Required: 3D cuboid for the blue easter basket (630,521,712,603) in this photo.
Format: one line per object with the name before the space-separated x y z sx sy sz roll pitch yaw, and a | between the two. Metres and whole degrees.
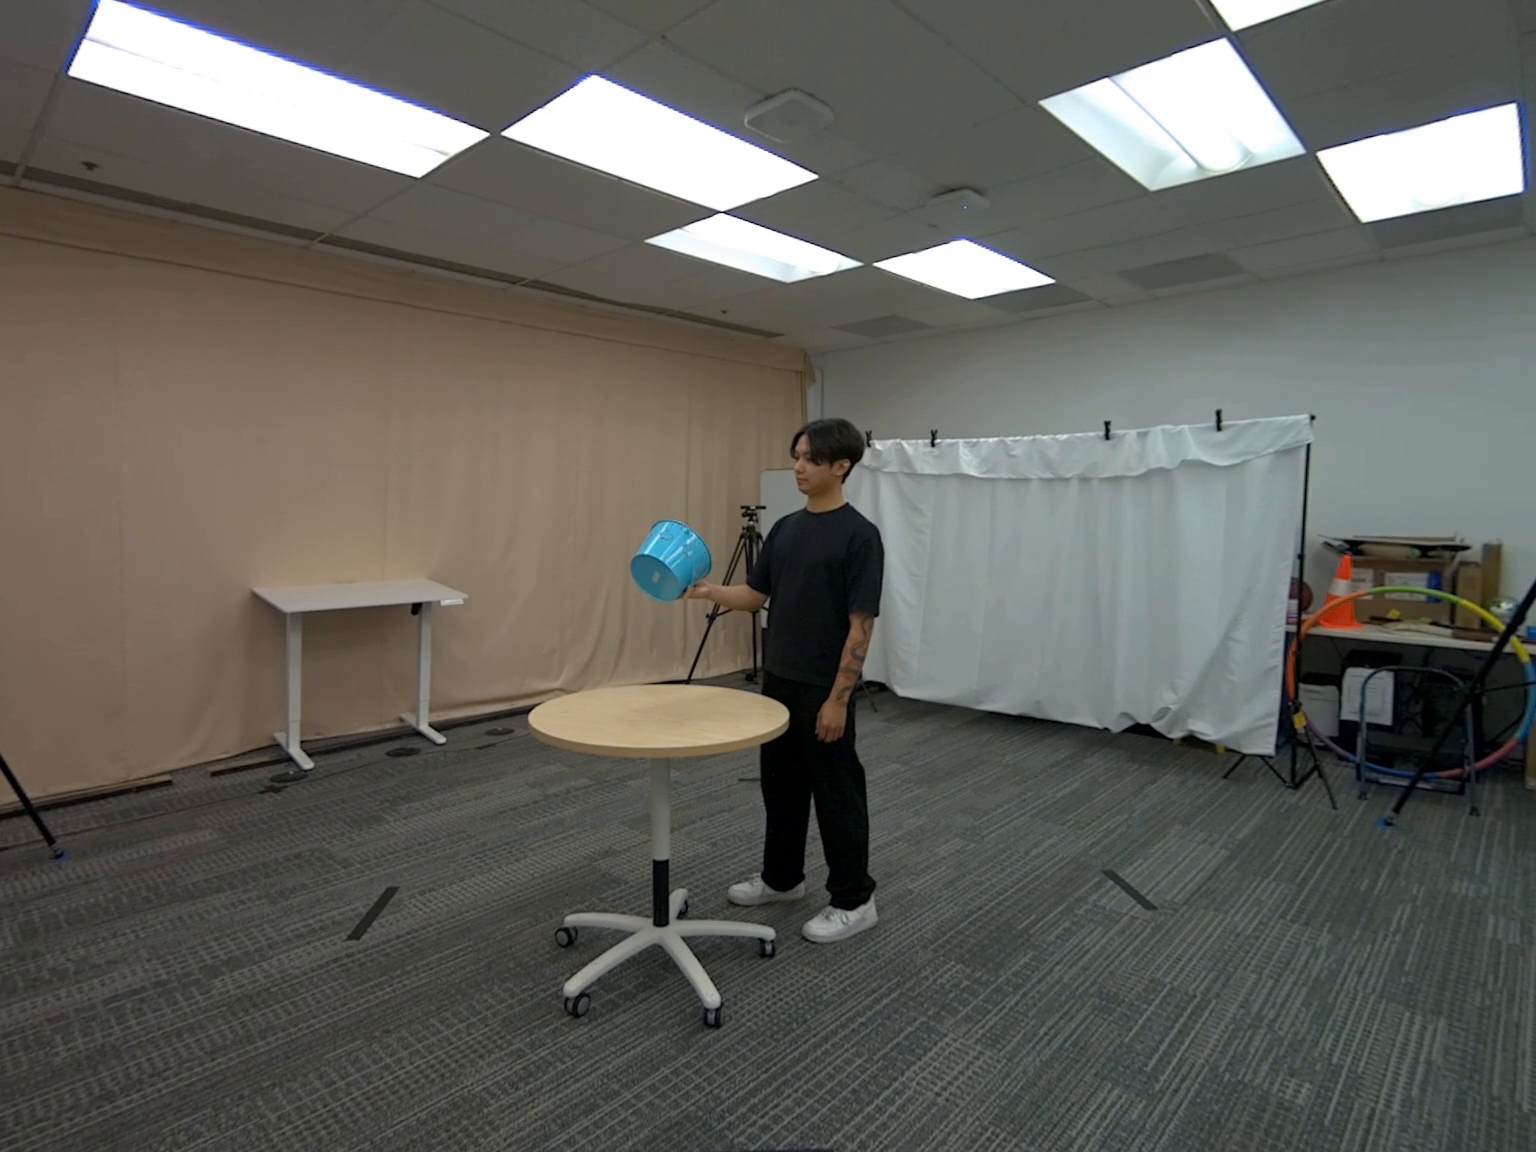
blue easter basket | -0.300 -0.037 2.634 0.251 0.238 0.155 3 36 35
